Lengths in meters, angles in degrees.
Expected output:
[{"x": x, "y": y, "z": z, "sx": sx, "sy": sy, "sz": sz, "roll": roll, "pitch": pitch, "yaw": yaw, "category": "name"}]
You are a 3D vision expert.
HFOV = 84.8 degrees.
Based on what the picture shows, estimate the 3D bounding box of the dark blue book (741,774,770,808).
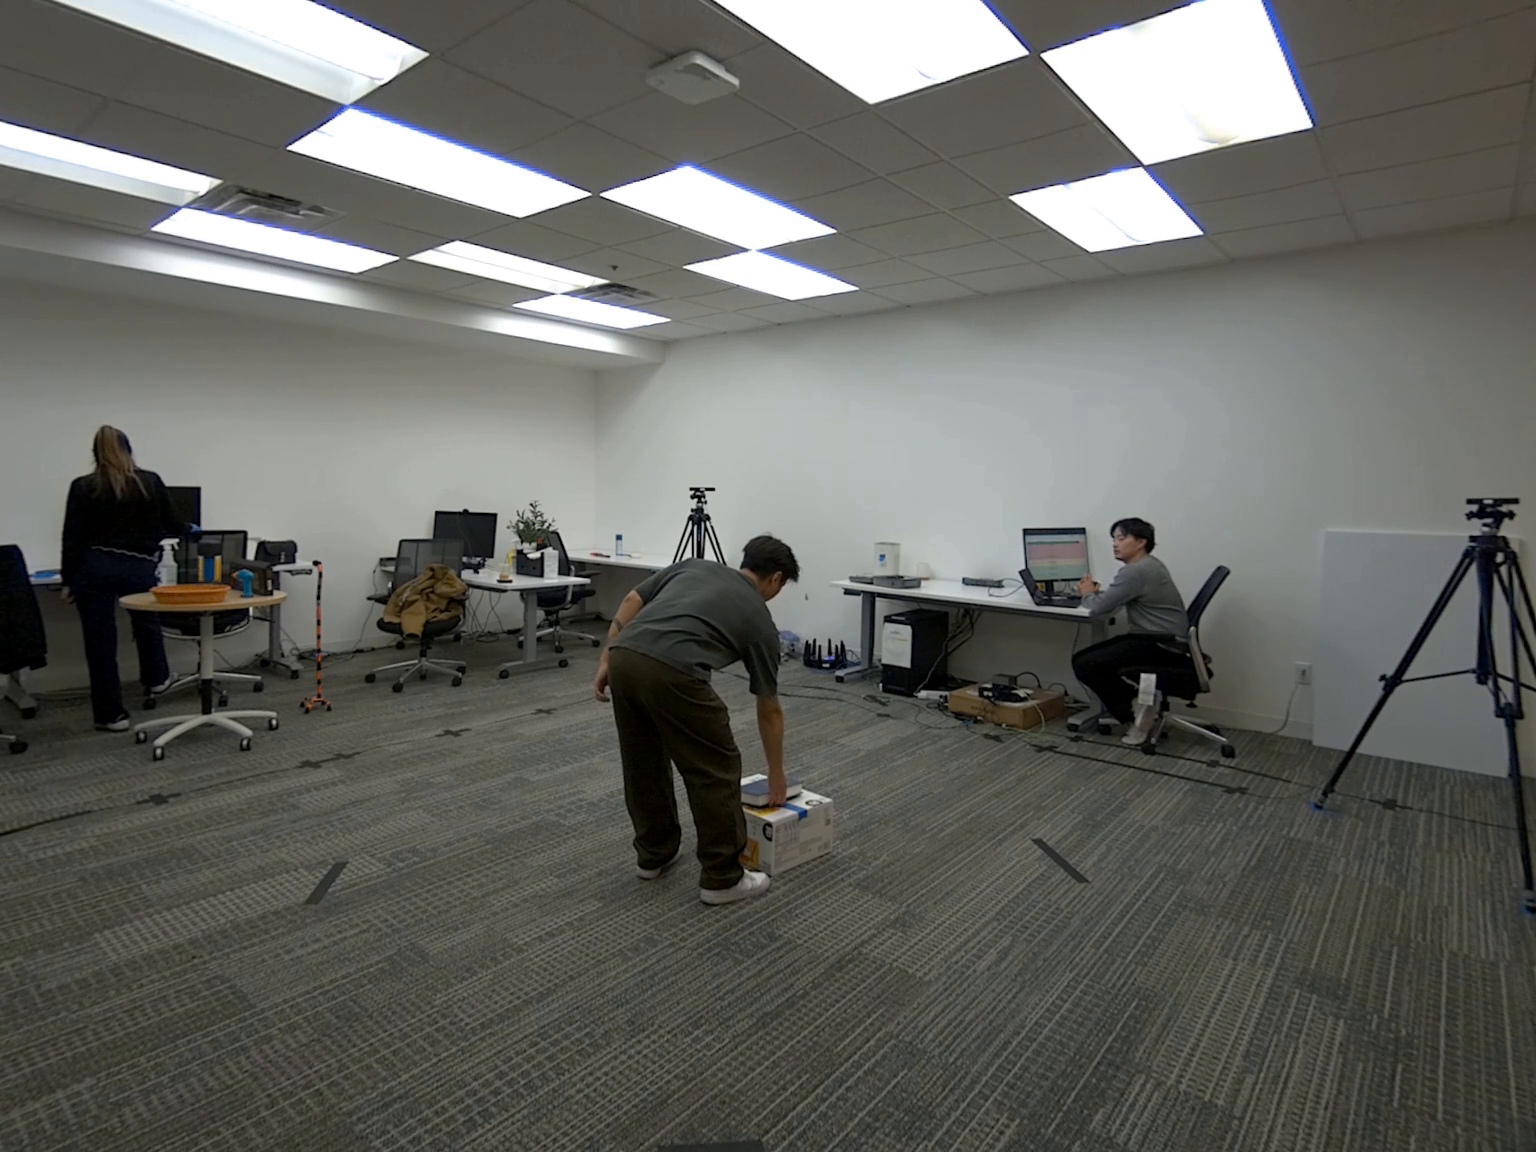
[{"x": -0.012, "y": 0.830, "z": 3.299, "sx": 0.238, "sy": 0.045, "sz": 0.168, "roll": -5, "pitch": 3, "yaw": -42, "category": "dark blue book"}]
